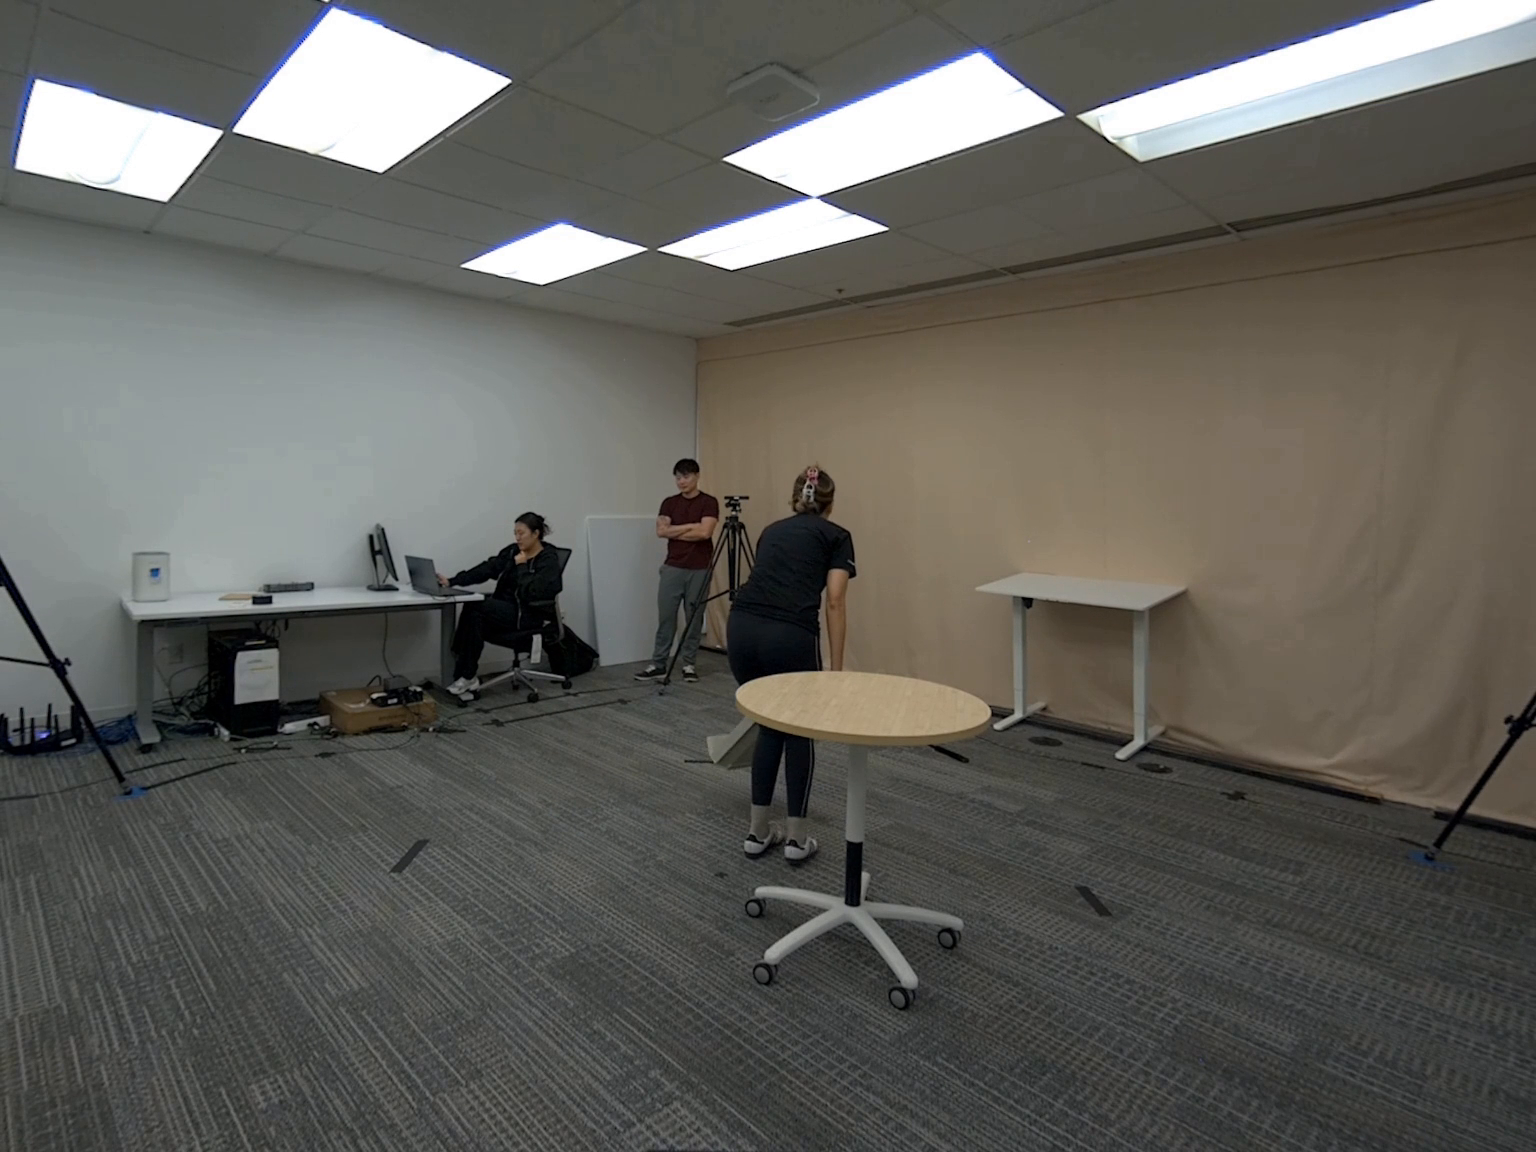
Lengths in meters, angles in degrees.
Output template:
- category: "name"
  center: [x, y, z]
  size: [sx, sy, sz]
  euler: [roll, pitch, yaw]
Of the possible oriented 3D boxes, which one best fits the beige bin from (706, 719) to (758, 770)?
- category: "beige bin"
  center: [-0.026, 0.664, 3.760]
  size: [0.368, 0.194, 0.421]
  euler: [4, -45, -43]
